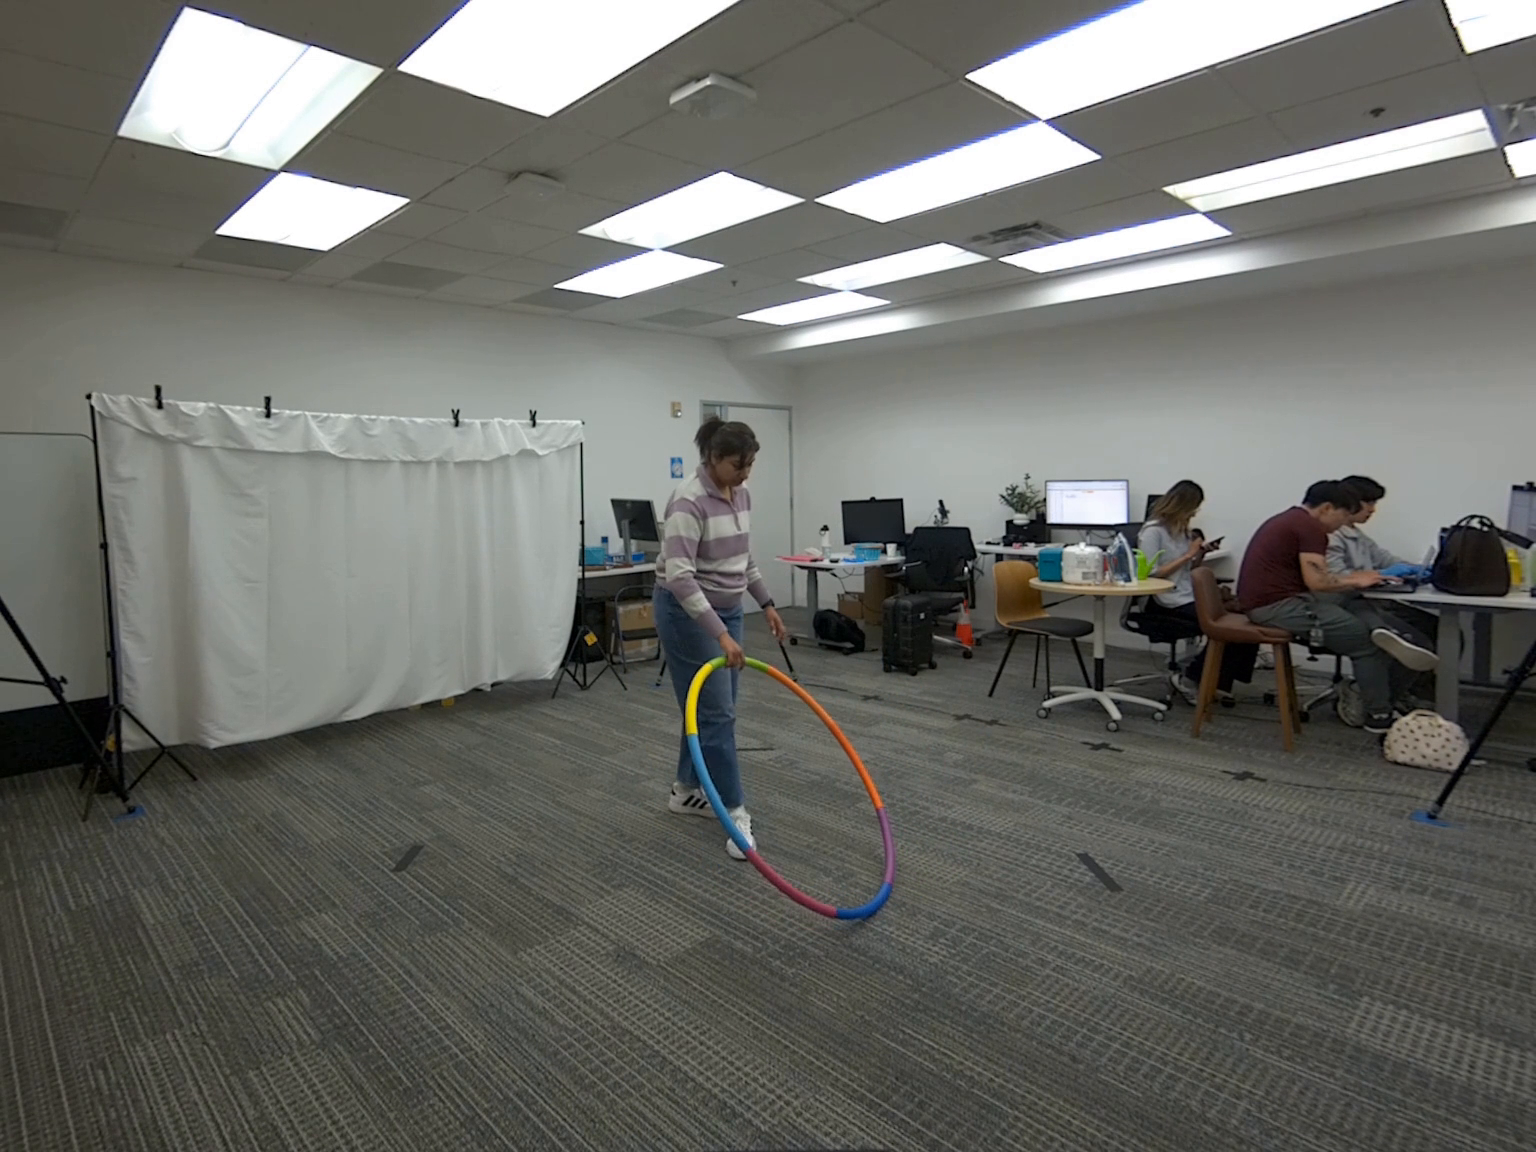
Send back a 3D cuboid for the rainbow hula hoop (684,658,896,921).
[{"bbox_3d":[0.094,0.682,2.931,0.052,1.004,0.966,-43,-14,23],"label":"rainbow hula hoop"}]
